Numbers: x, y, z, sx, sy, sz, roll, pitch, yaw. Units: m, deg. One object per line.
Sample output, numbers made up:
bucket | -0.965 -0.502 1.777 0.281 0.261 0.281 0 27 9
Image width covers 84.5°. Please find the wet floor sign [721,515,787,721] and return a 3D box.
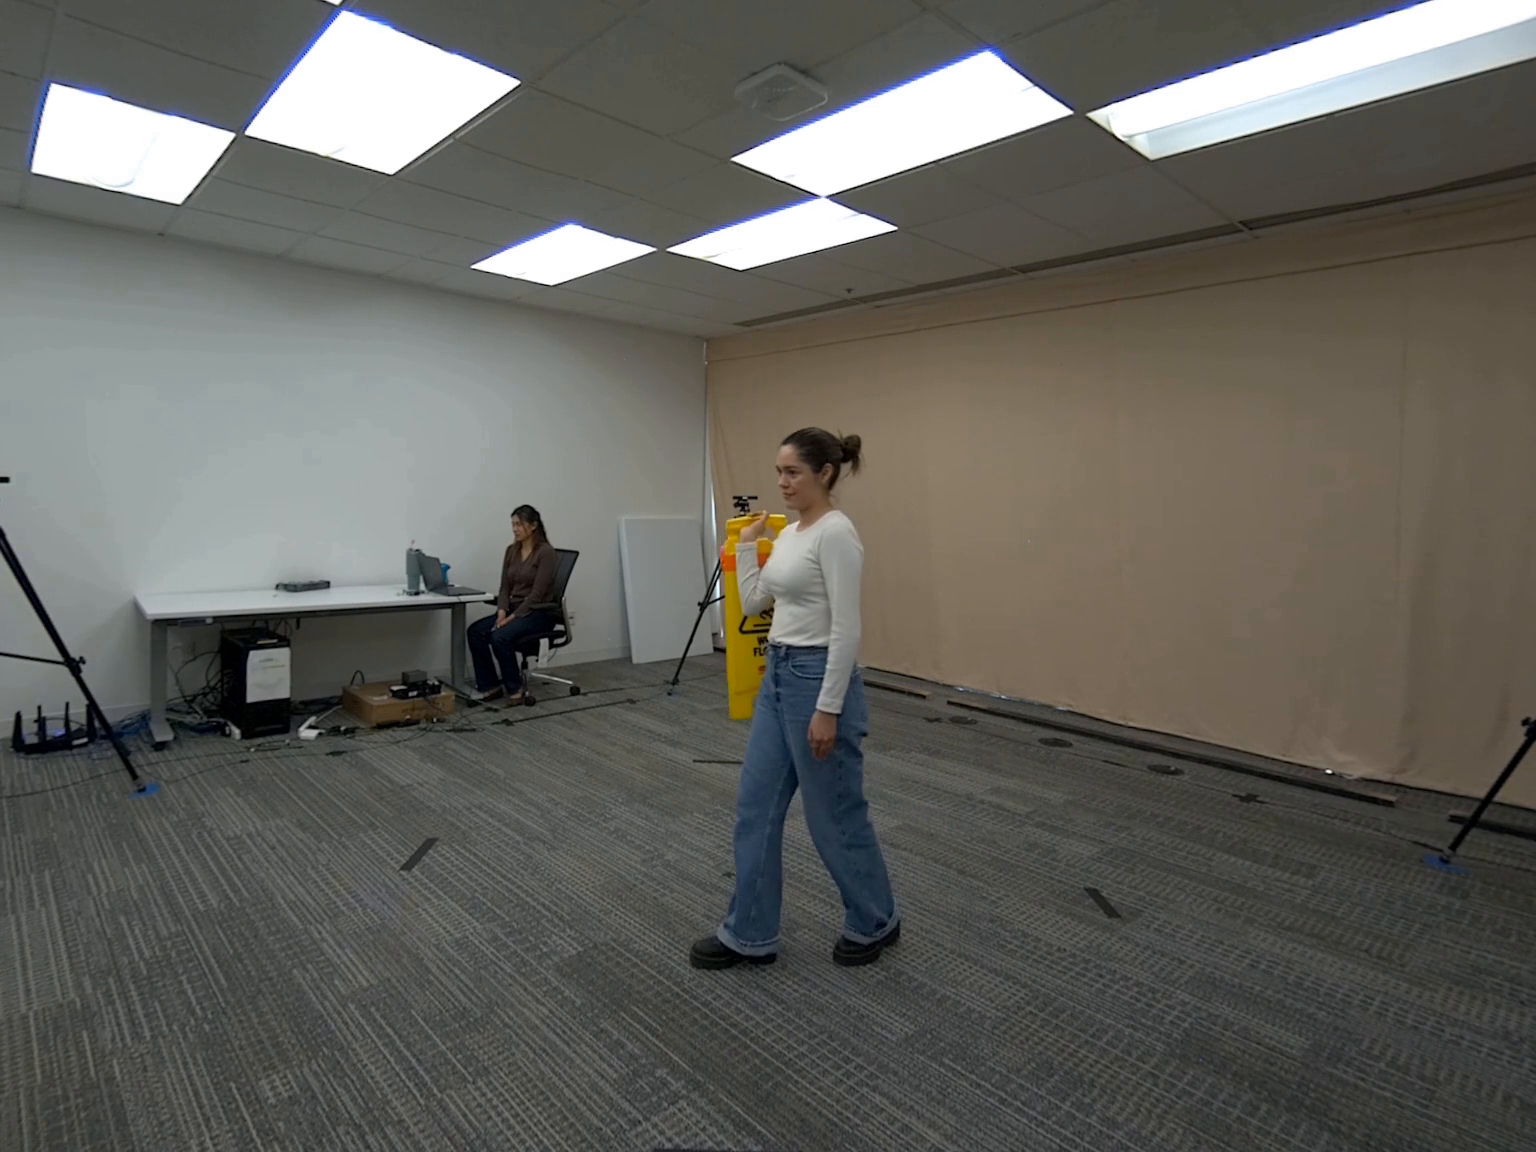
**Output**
wet floor sign | -0.031 0.110 2.809 0.282 0.638 0.293 -4 16 -2
